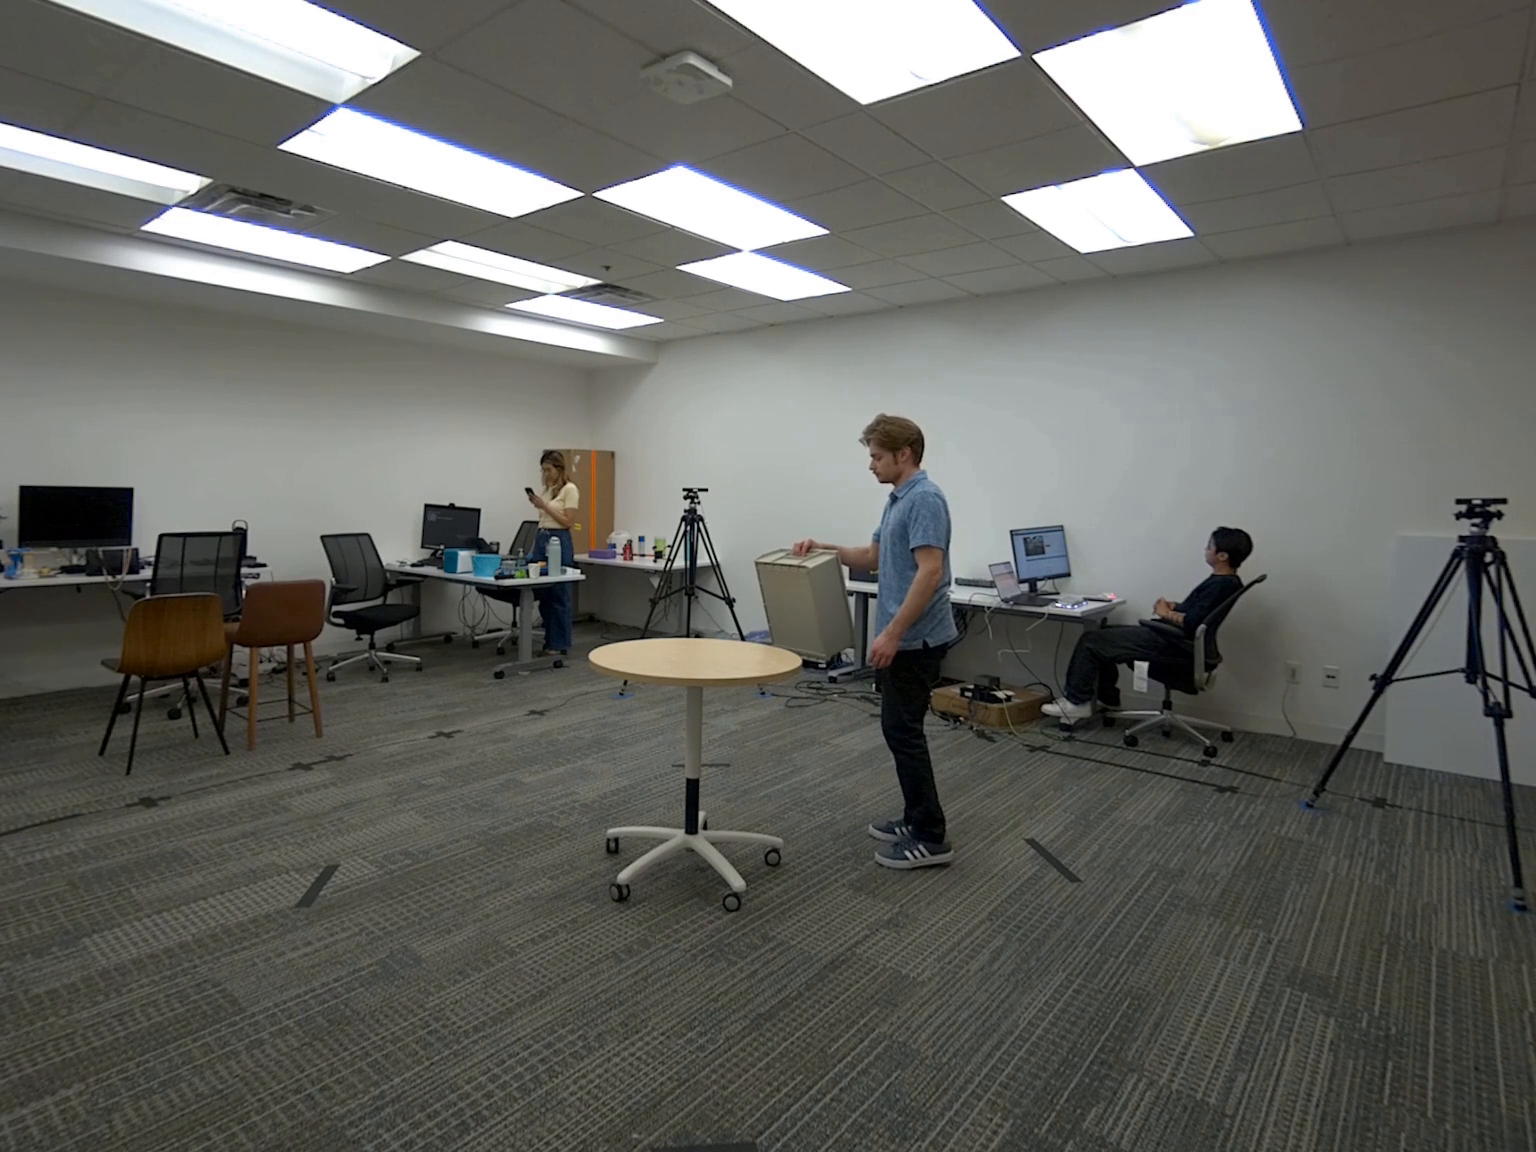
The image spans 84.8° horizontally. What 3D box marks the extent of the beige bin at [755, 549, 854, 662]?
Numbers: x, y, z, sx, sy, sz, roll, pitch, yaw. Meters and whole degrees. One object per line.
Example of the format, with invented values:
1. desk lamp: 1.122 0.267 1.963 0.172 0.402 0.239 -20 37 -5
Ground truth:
1. beige bin: 0.130 0.109 3.569 0.185 0.416 0.390 -20 15 -36
